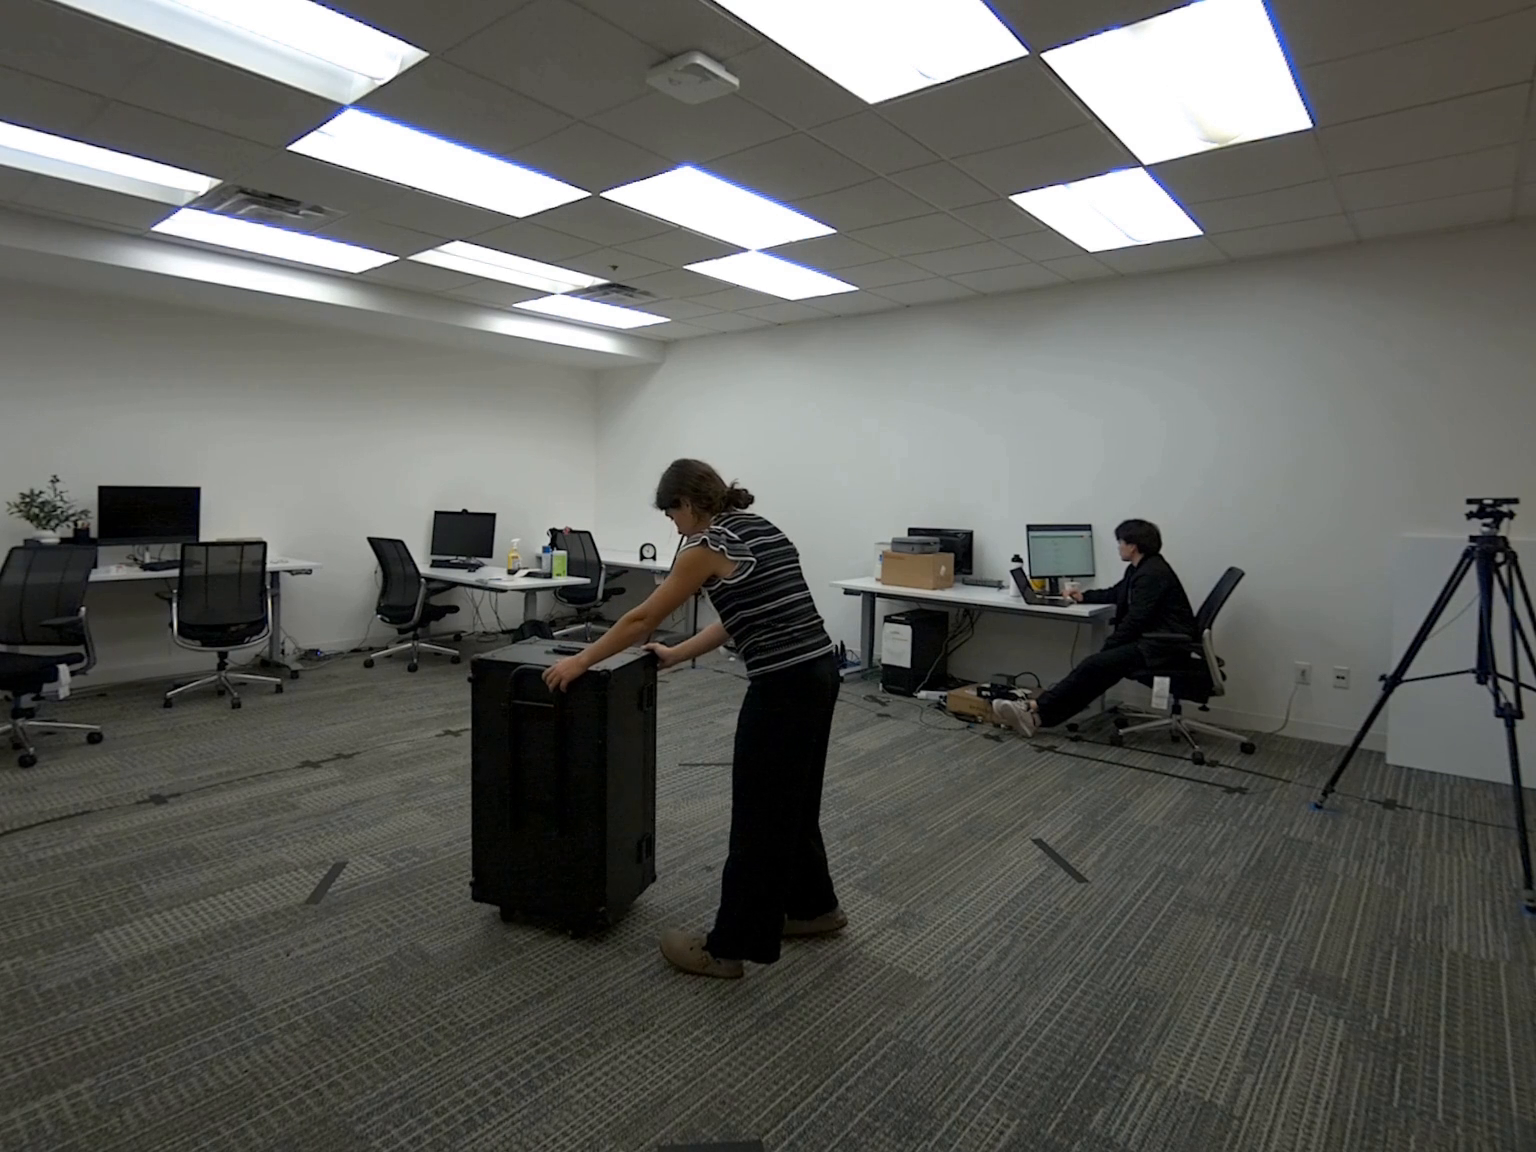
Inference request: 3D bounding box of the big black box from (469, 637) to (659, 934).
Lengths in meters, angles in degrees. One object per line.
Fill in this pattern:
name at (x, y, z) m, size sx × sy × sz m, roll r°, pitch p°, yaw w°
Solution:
big black box at (-0.659, 0.676, 2.743) m, size 0.532 × 0.858 × 0.389 m, roll 2°, pitch 5°, yaw 20°
